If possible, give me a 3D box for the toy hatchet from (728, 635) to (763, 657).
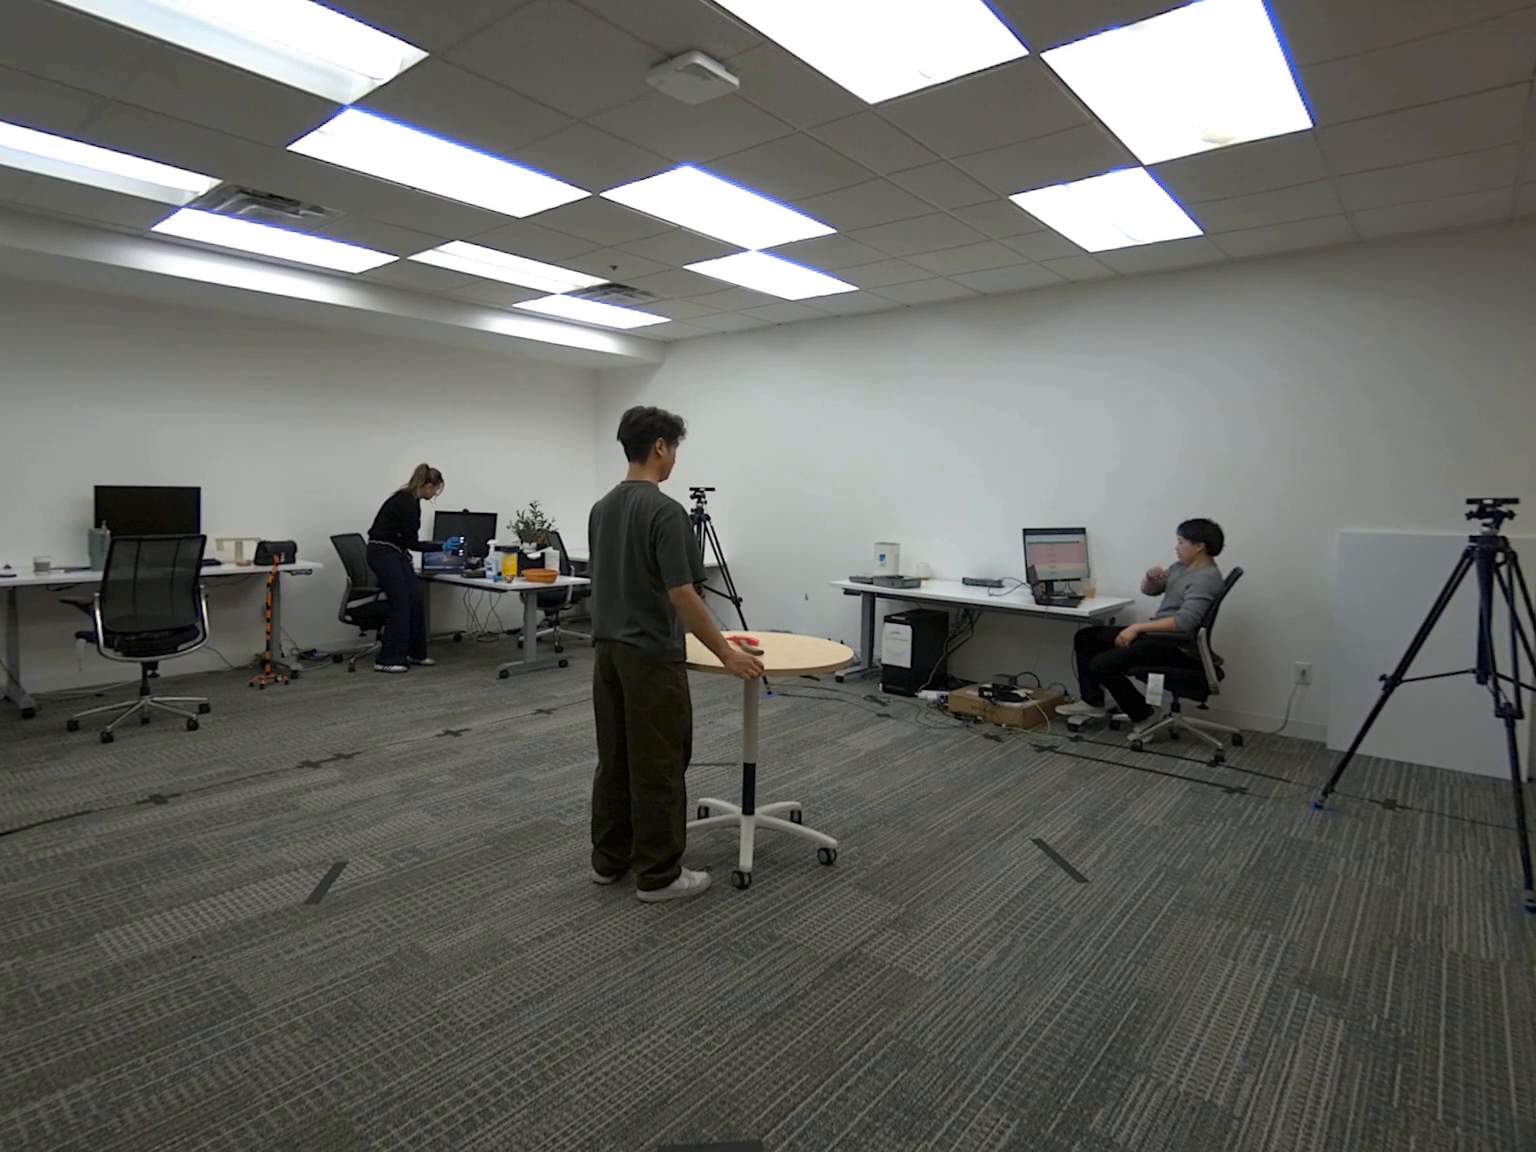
[{"bbox_3d":[-0.067,0.262,3.234,0.128,0.029,0.278,2,6,-26],"label":"toy hatchet"}]
